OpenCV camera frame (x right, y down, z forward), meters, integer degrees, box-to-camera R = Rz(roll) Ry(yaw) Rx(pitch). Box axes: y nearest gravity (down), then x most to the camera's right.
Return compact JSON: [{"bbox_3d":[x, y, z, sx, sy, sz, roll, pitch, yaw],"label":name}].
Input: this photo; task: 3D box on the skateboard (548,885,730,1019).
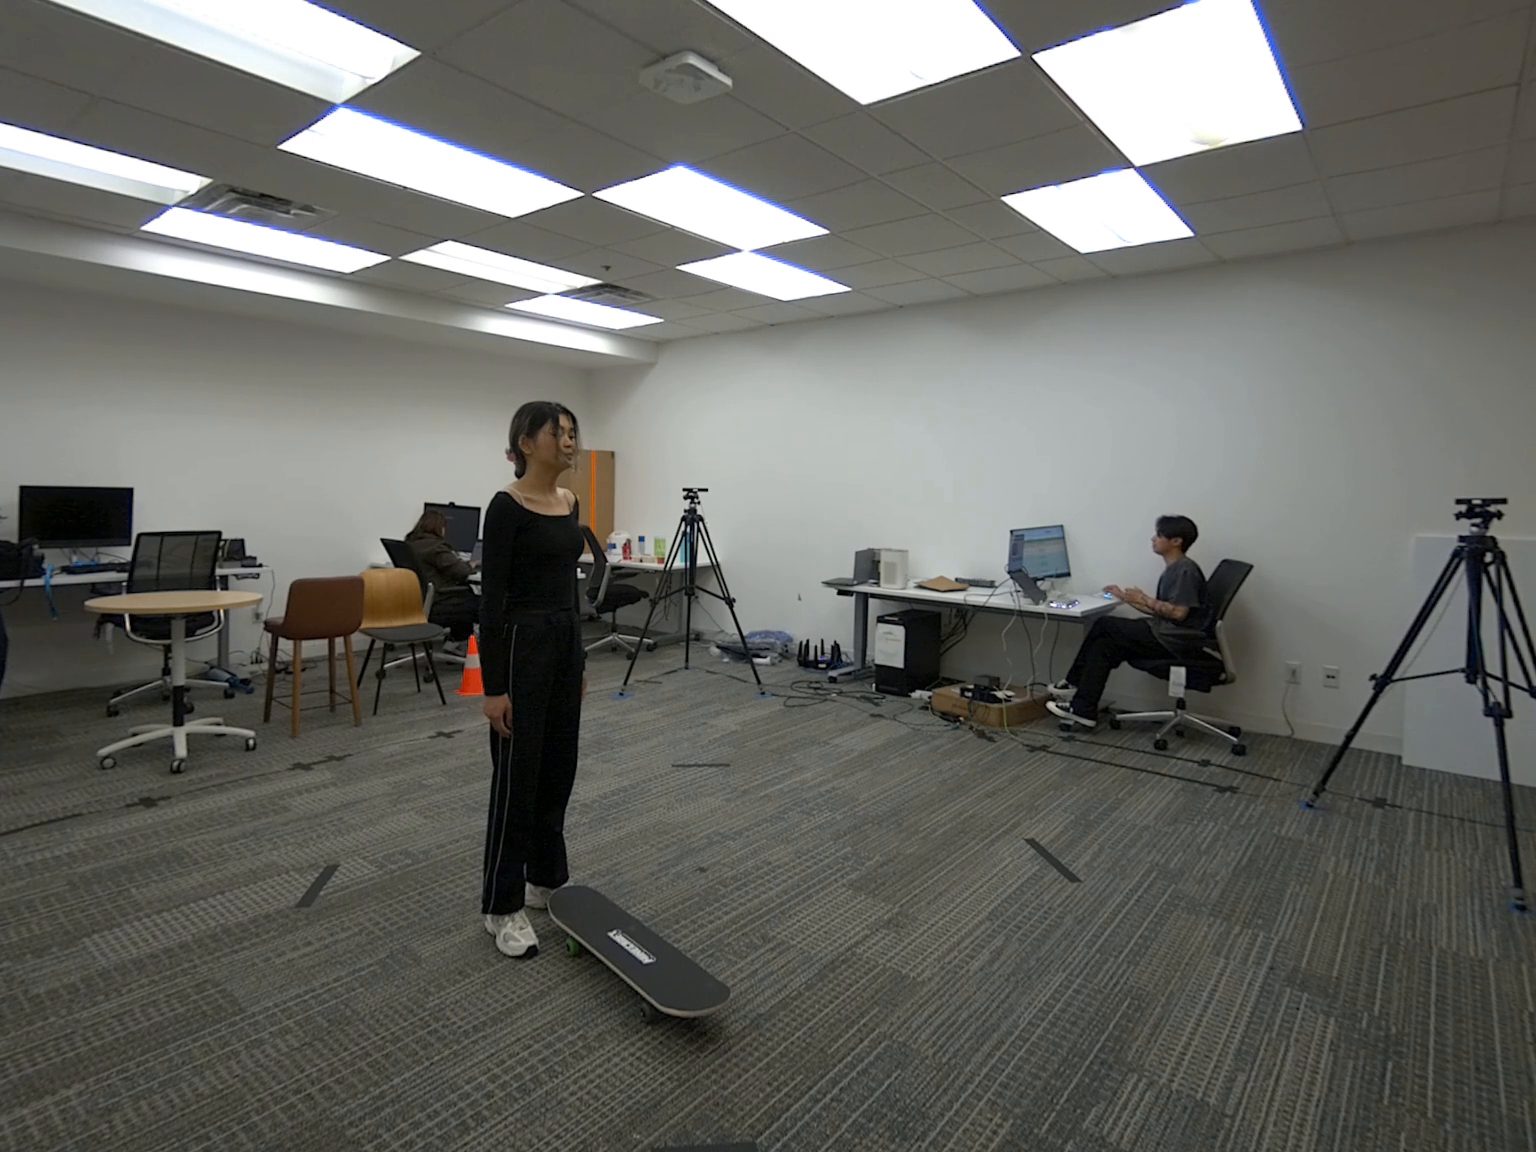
[{"bbox_3d":[-0.398,1.078,2.410,0.188,0.110,0.812,-4,7,-41],"label":"skateboard"}]
